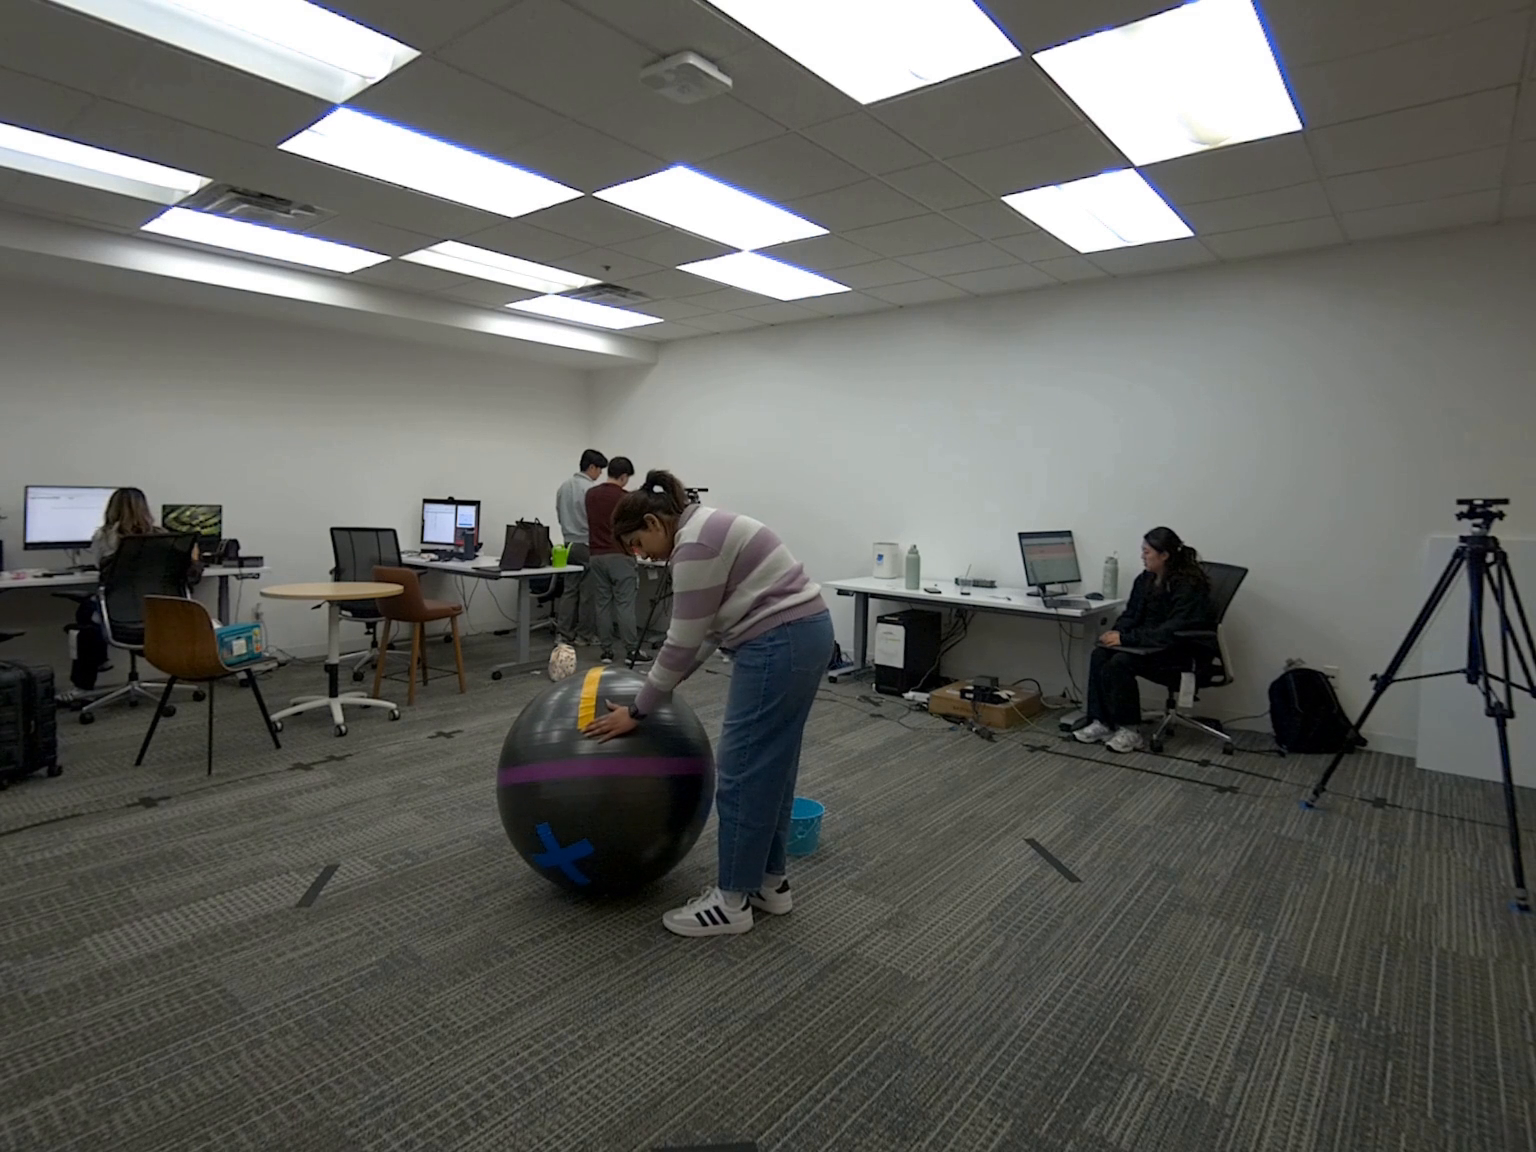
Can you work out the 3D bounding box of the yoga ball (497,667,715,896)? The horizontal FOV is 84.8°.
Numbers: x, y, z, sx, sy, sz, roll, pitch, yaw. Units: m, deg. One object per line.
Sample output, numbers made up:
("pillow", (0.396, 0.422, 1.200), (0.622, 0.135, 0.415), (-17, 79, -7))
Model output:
("yoga ball", (-0.584, 0.711, 2.982), (0.757, 0.756, 0.762), (1, 4, -2))
